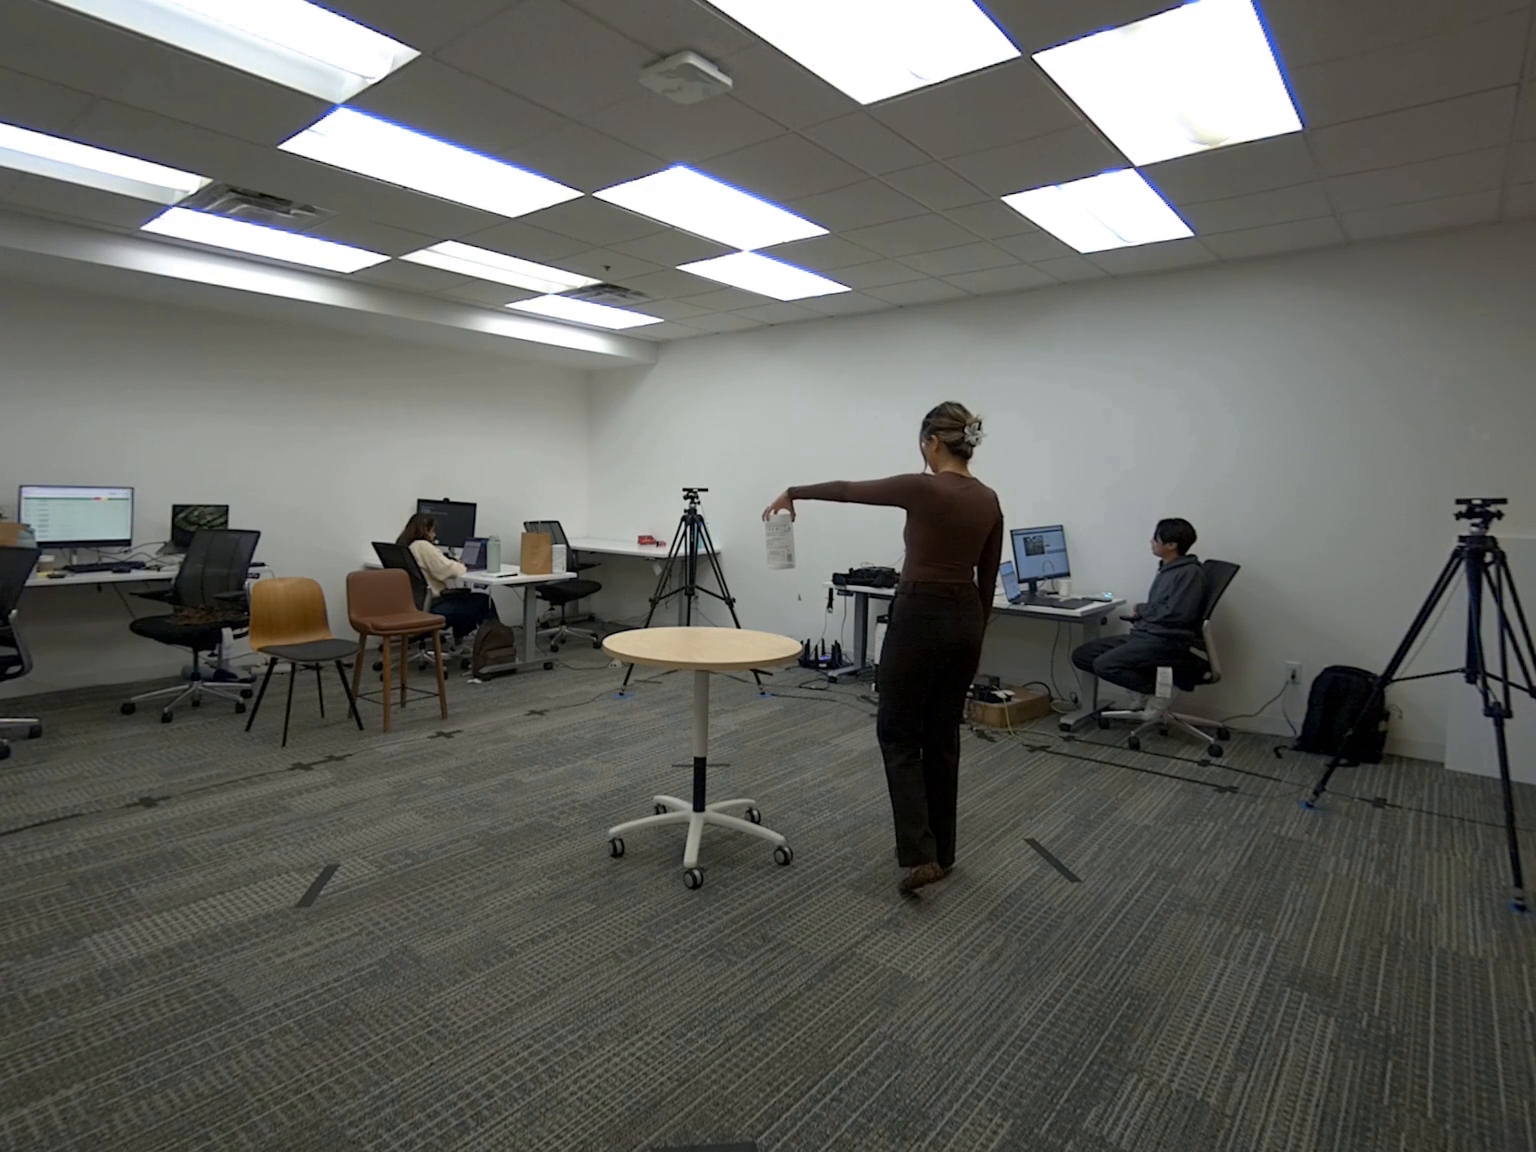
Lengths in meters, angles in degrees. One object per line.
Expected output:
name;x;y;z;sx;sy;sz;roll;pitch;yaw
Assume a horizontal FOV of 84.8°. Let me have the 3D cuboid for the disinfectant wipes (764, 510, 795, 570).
disinfectant wipes;0.039;-0.139;3.356;0.118;0.217;0.118;-3;2;-2
